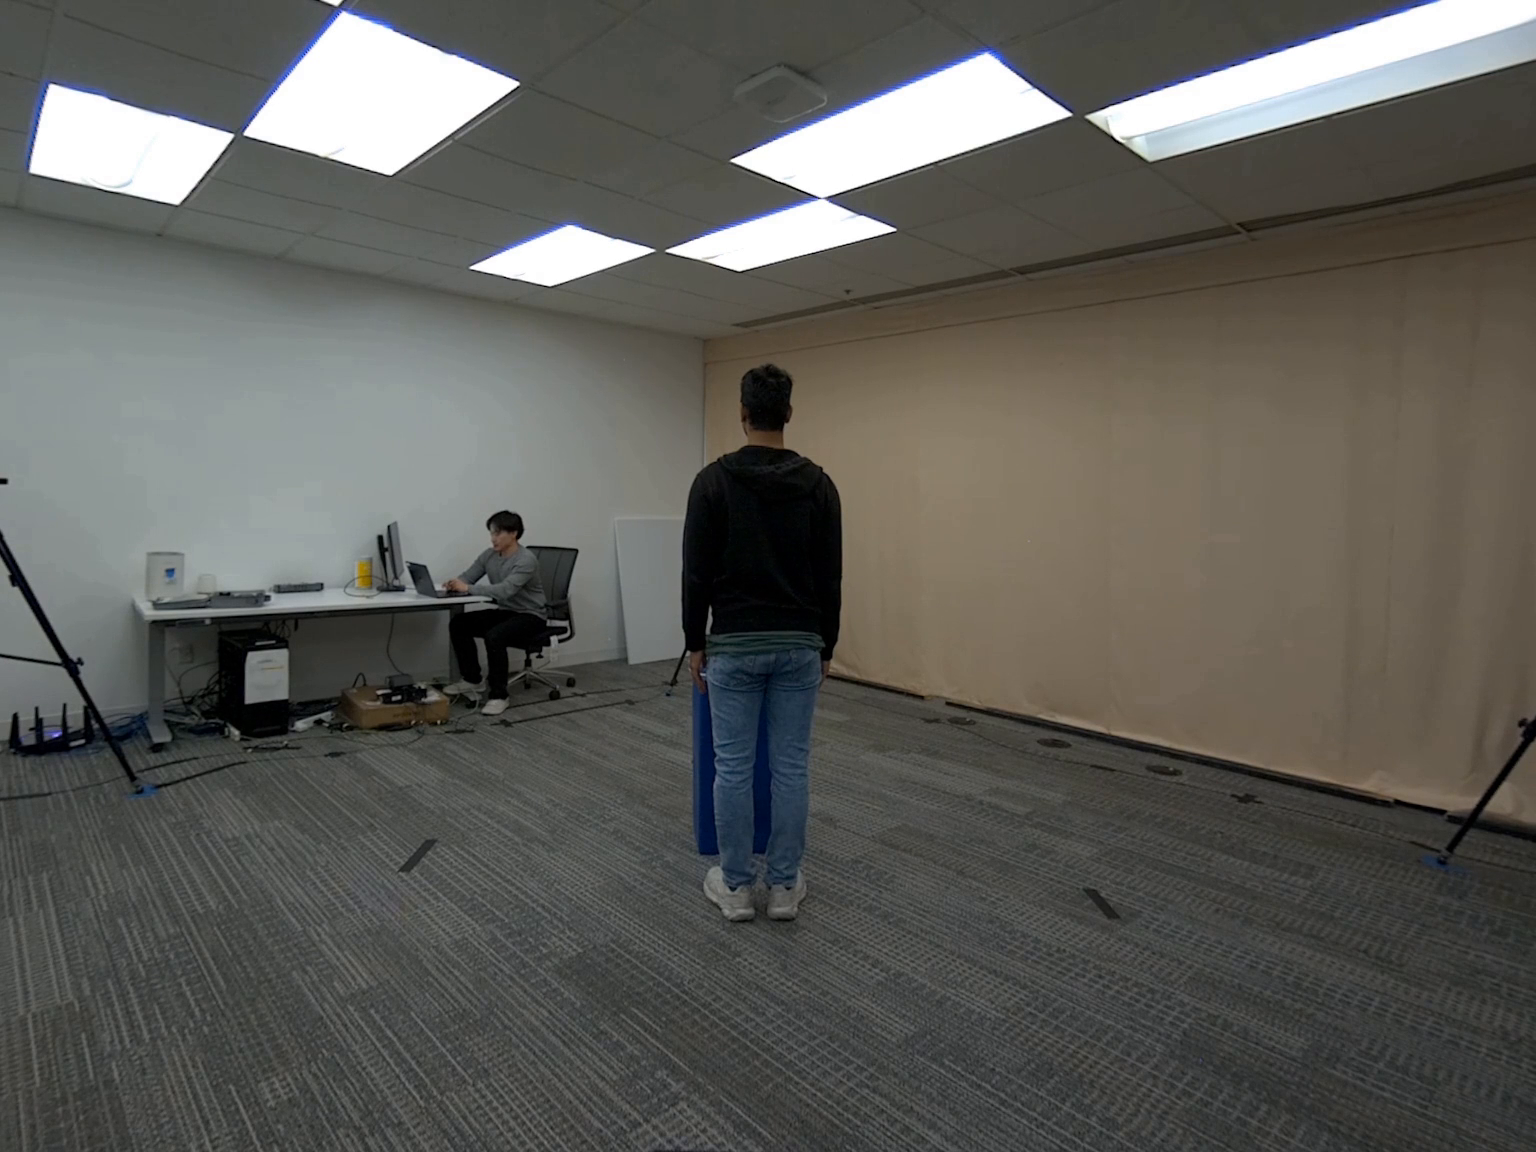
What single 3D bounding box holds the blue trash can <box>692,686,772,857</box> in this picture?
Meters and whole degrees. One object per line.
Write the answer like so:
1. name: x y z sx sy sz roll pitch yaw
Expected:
1. blue trash can: -0.140 0.723 3.436 0.375 0.712 0.377 2 3 -9
